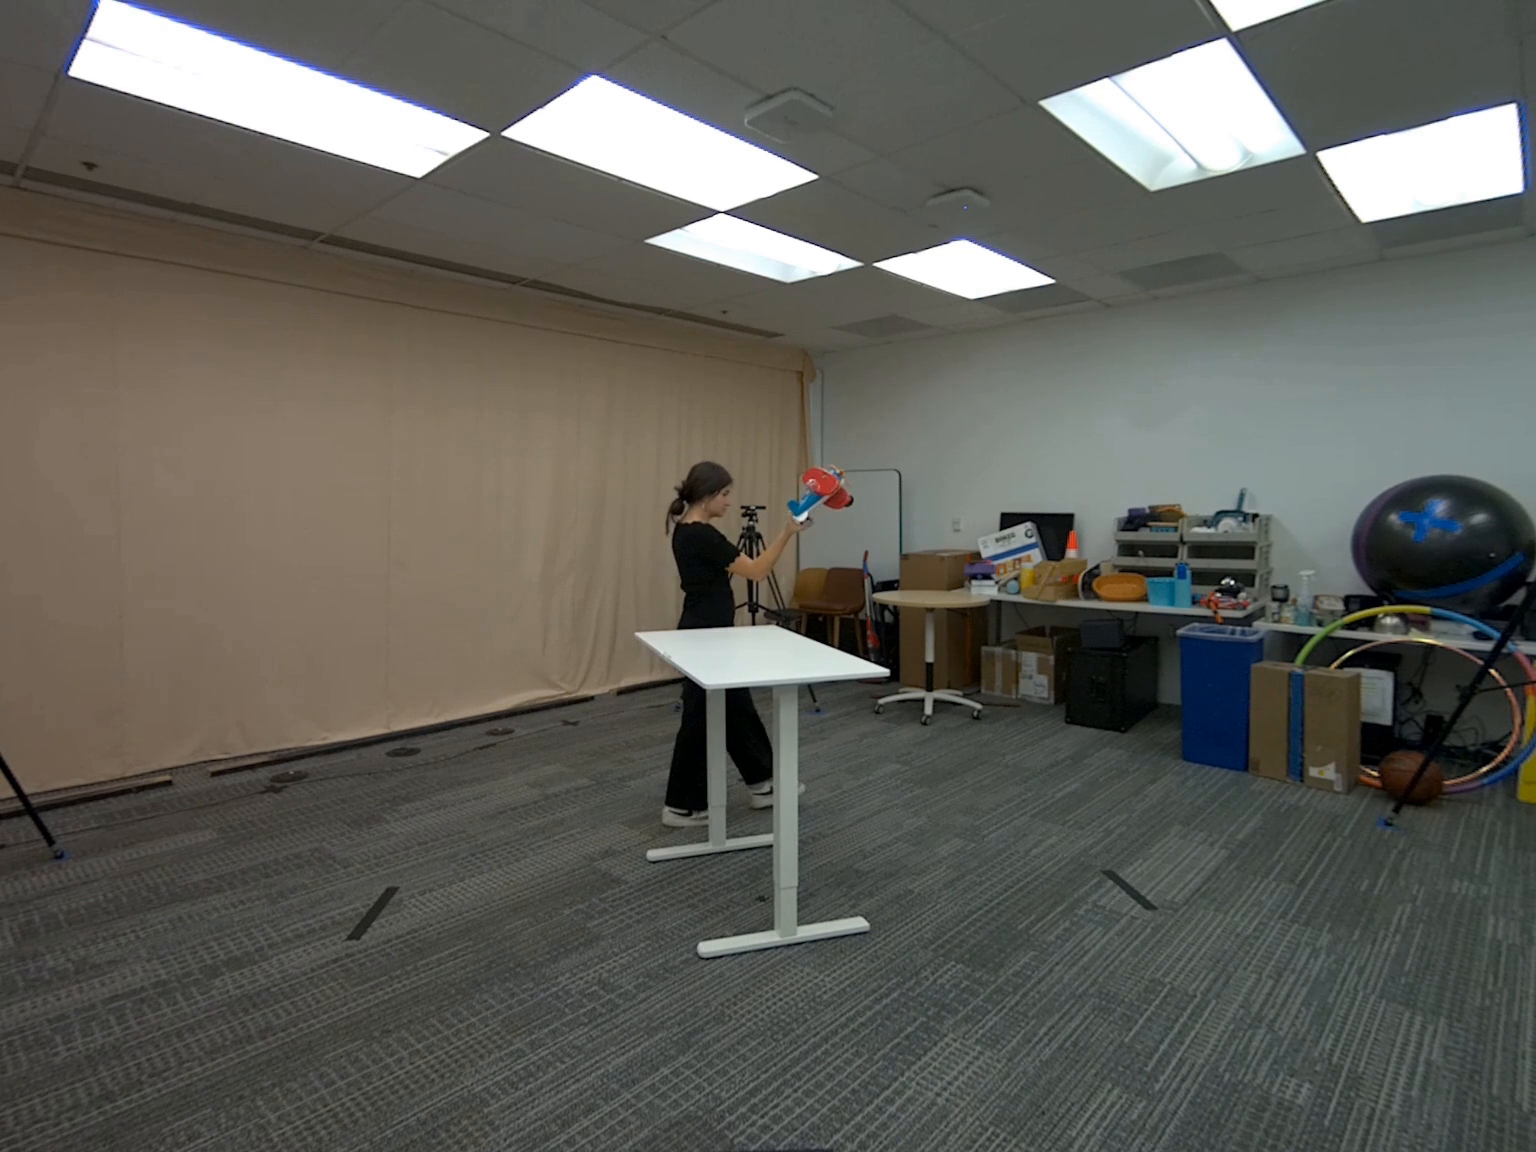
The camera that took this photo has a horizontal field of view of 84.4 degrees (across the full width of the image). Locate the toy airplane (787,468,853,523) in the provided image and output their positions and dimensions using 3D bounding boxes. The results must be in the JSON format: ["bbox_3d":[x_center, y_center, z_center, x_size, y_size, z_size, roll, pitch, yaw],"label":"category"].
[{"bbox_3d":[0.217,-0.310,3.313,0.260,0.152,0.257,6,41,44],"label":"toy airplane"}]
